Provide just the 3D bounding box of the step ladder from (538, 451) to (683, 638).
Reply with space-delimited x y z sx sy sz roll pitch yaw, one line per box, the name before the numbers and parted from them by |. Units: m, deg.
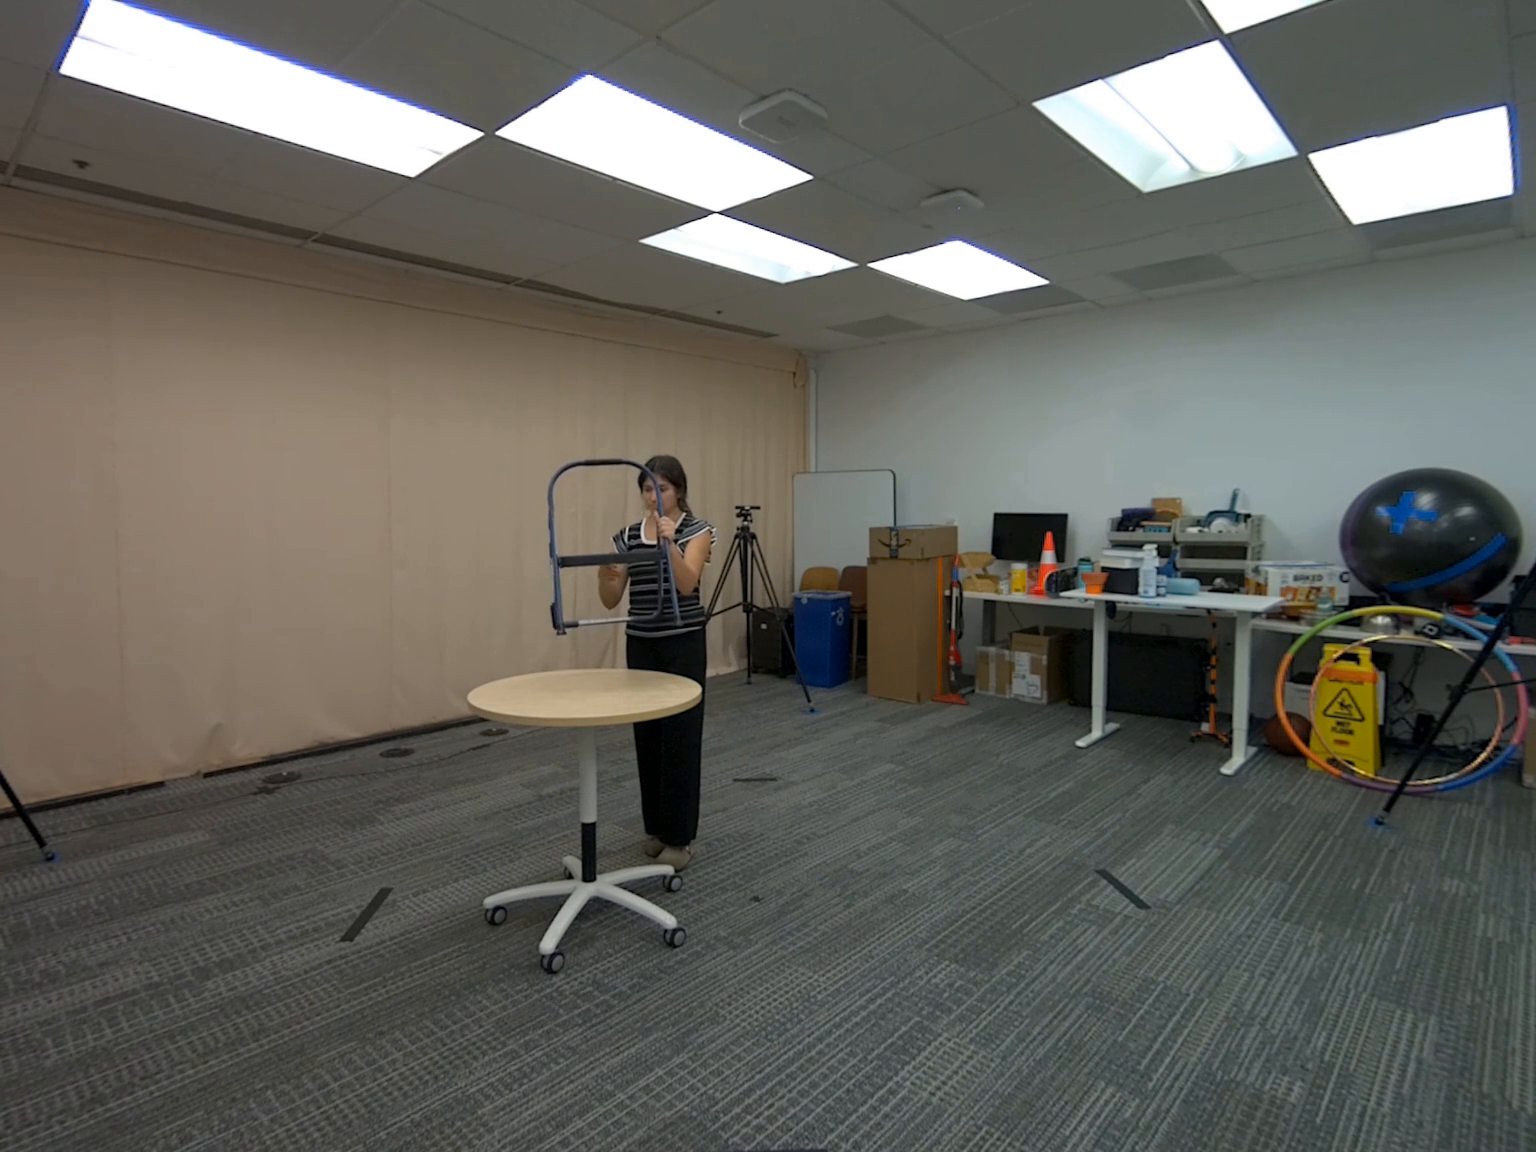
step ladder | -0.567 -0.112 2.988 0.423 0.607 0.355 -2 -2 -18
